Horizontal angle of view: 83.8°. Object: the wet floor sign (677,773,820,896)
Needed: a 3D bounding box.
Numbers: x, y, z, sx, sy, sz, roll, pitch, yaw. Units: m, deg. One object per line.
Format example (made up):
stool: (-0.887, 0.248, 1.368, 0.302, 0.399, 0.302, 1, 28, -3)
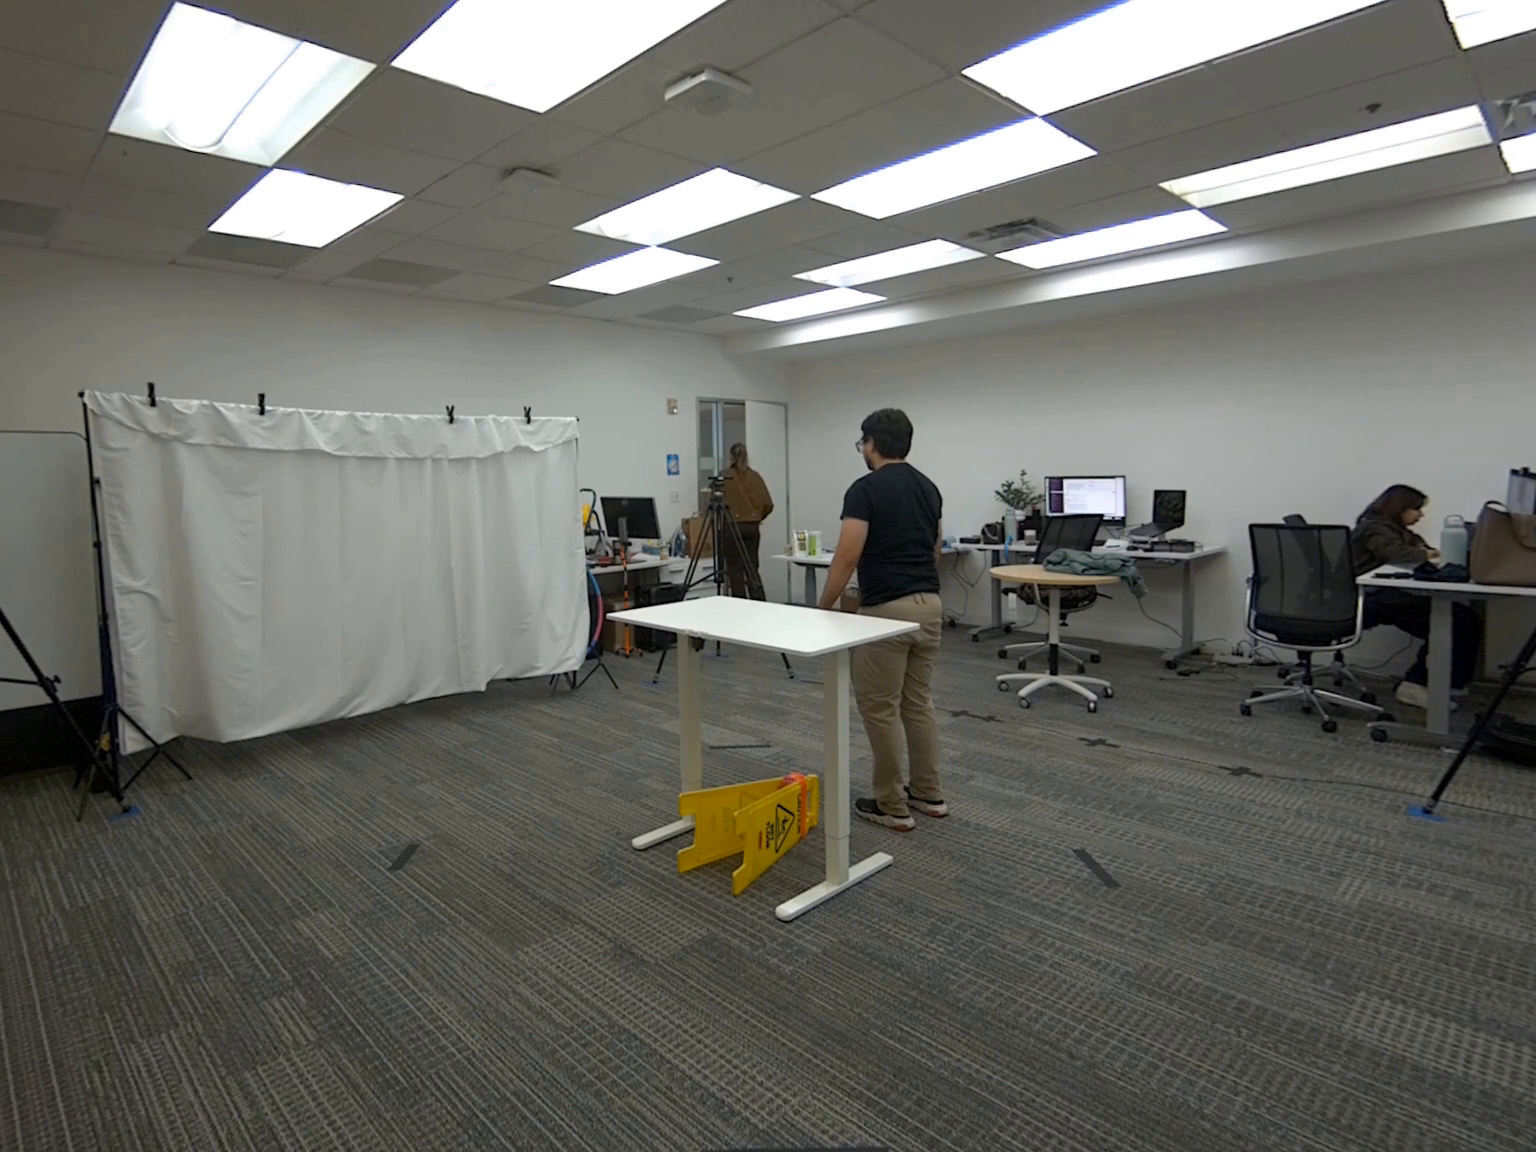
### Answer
wet floor sign: (-0.014, 0.906, 3.174, 0.298, 0.282, 0.628, 3, 4, 40)
